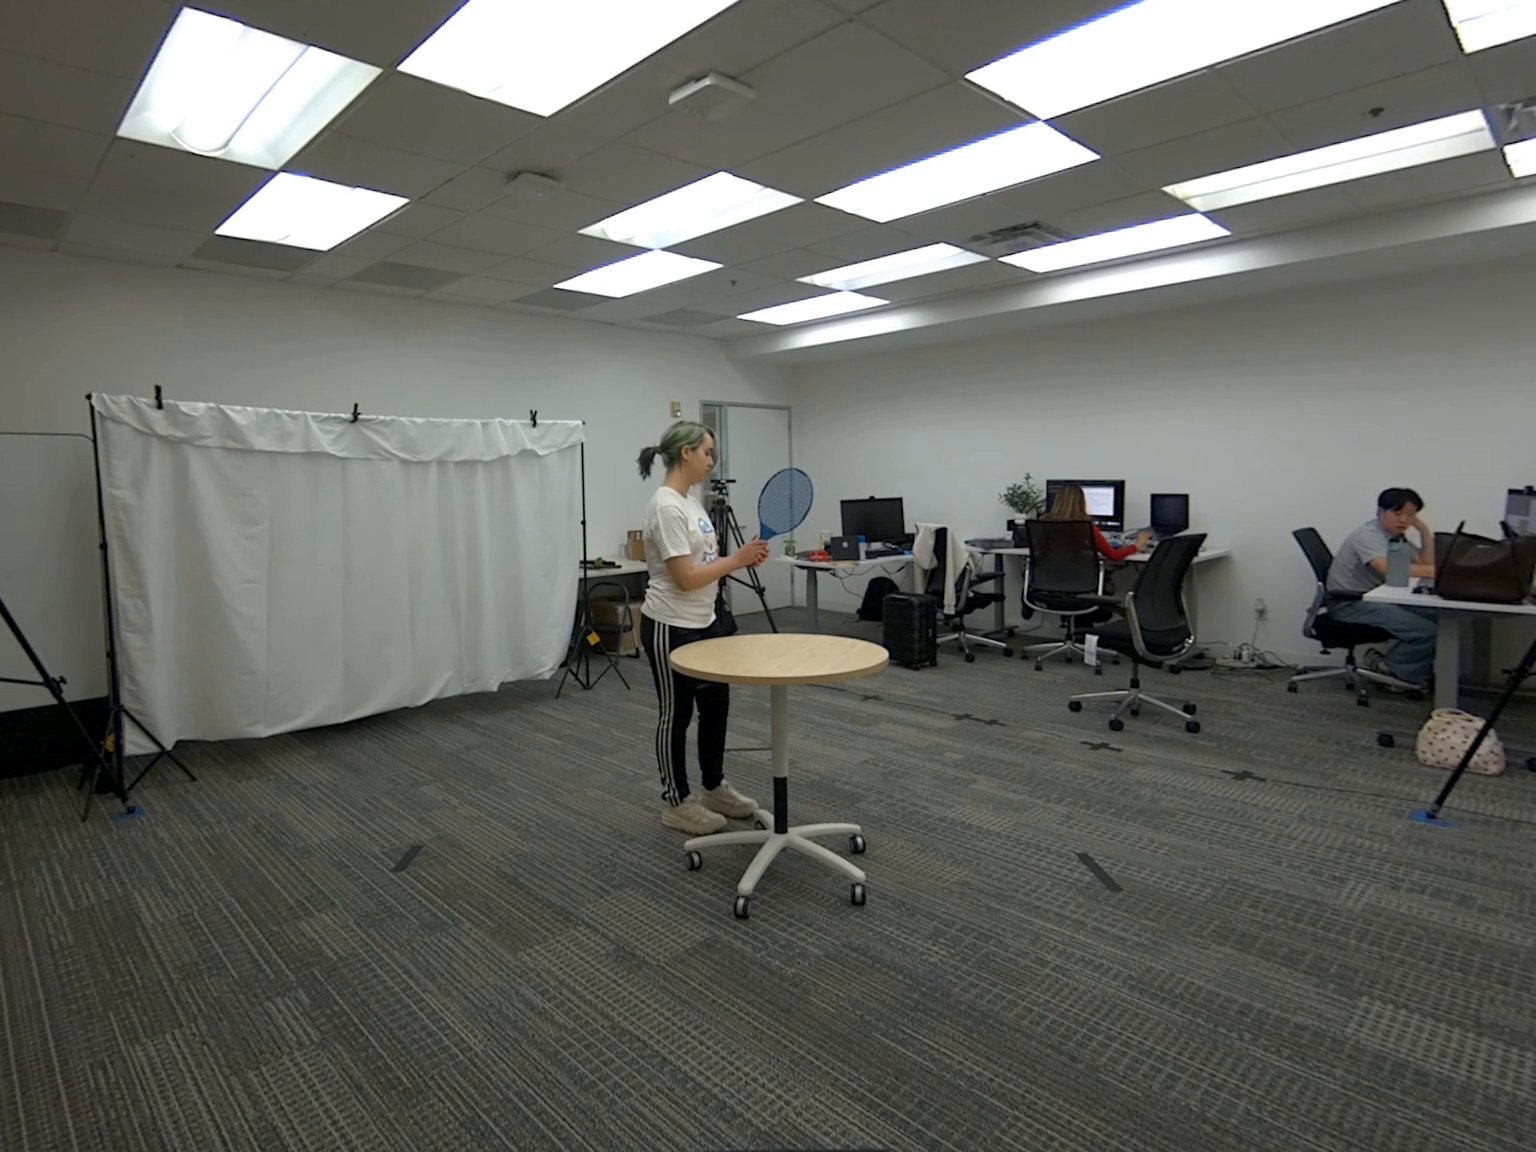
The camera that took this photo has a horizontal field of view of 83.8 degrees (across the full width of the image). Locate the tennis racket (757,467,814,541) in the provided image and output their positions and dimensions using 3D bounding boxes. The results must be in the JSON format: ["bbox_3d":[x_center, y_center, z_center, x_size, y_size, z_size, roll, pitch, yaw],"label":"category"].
[{"bbox_3d":[0.024,-0.223,3.311,0.220,0.431,0.031,42,16,24],"label":"tennis racket"}]
